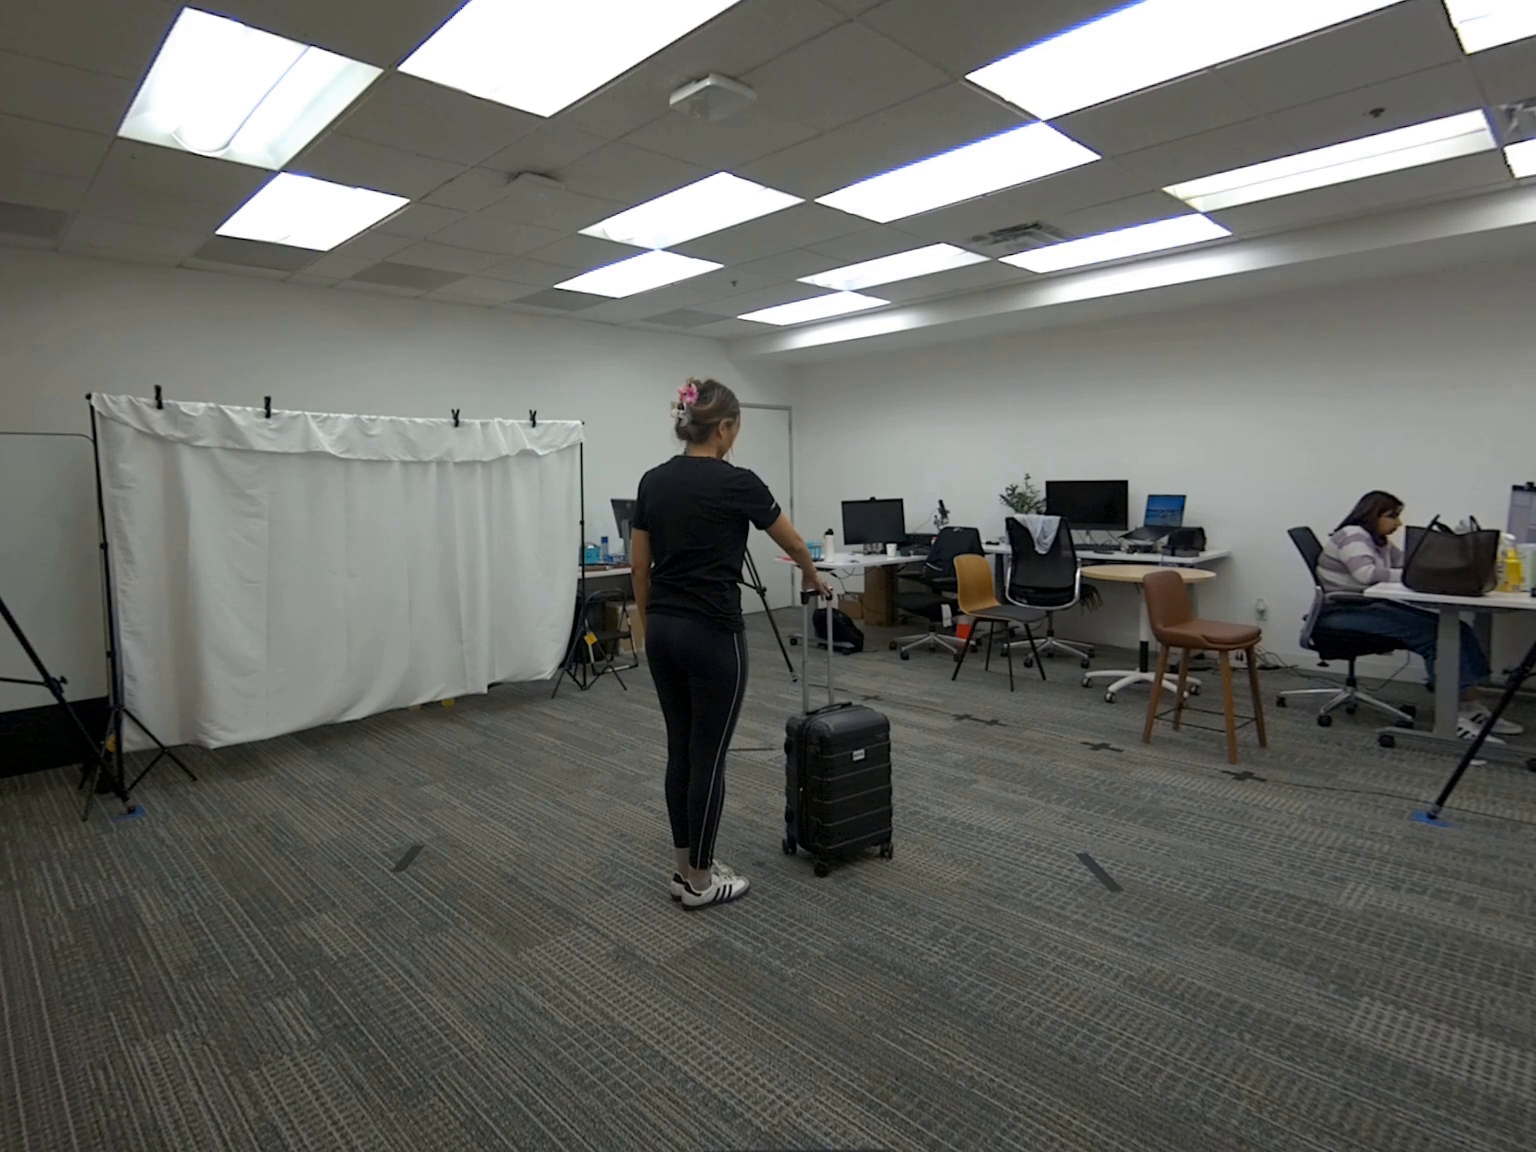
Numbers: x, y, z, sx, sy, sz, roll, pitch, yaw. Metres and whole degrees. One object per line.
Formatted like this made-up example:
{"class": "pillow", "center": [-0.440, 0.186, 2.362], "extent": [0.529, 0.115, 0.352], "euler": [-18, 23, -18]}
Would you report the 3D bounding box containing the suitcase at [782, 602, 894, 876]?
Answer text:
{"class": "suitcase", "center": [0.268, 0.561, 3.148], "extent": [0.374, 0.975, 0.264], "euler": [-3, 5, -32]}
